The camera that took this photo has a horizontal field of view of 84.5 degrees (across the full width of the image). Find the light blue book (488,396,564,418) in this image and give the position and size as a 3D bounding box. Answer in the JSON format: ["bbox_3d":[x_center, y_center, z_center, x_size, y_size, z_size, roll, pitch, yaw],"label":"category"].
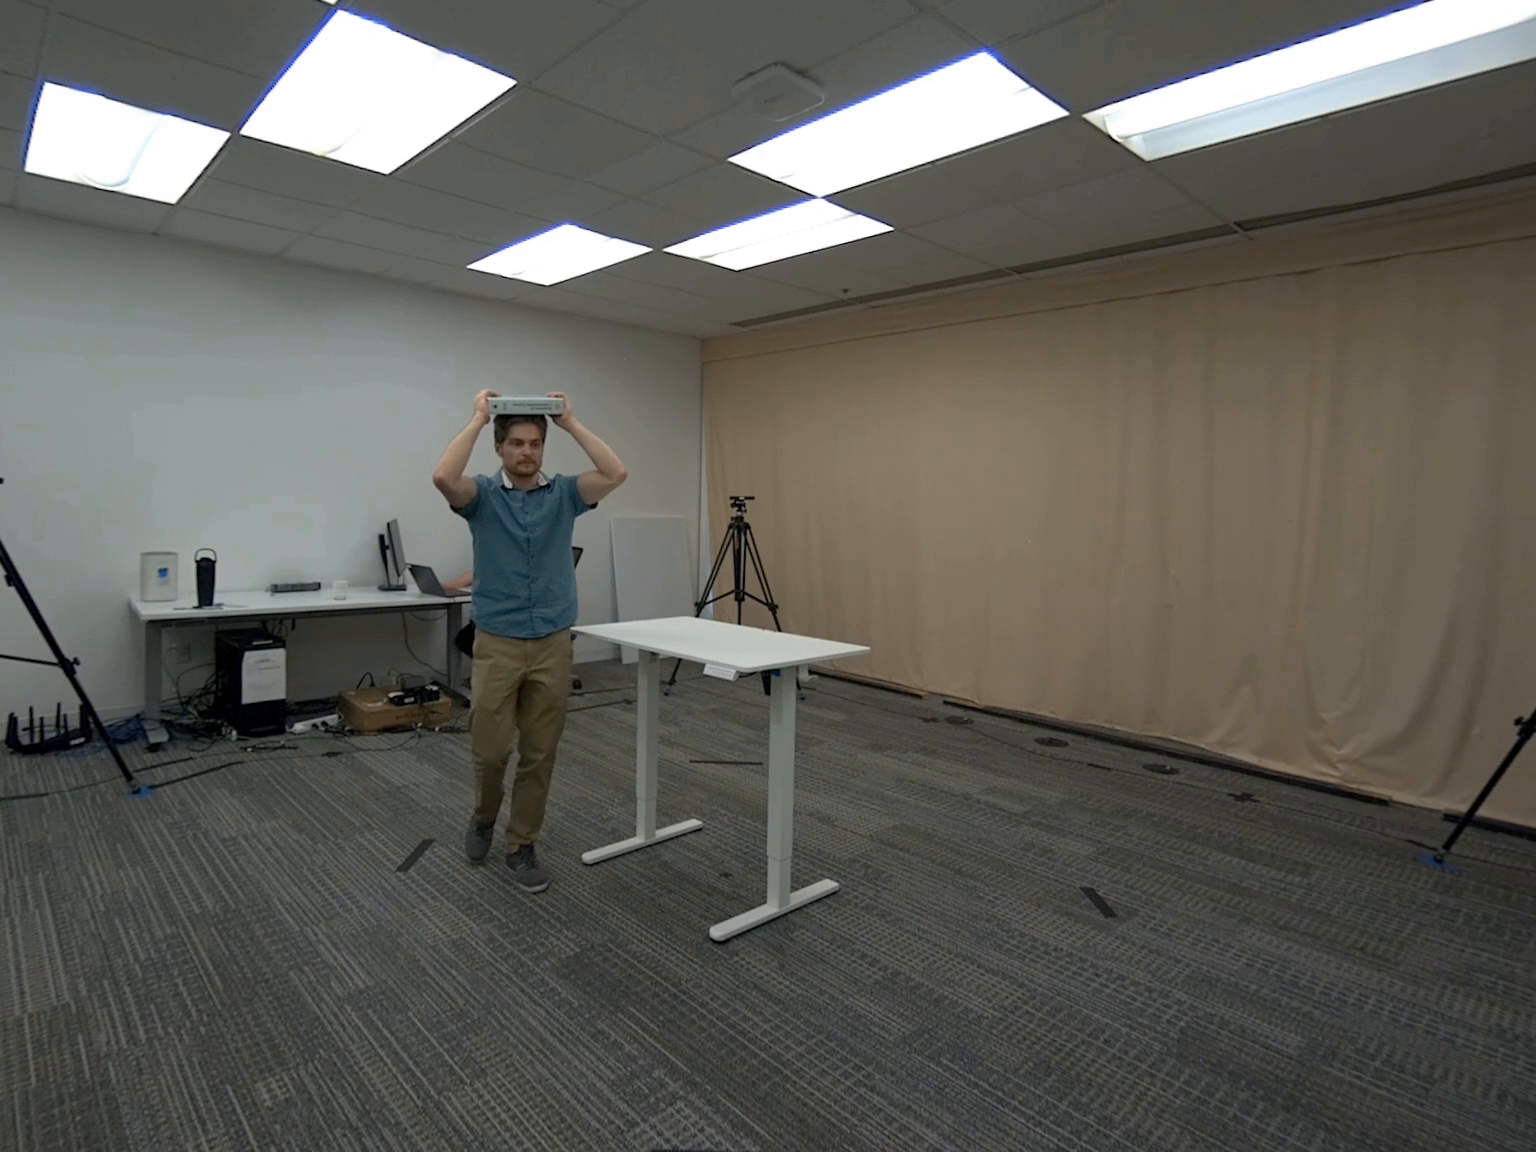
[{"bbox_3d":[-0.894,-0.611,3.009,0.256,0.058,0.196,-6,17,-26],"label":"light blue book"}]
